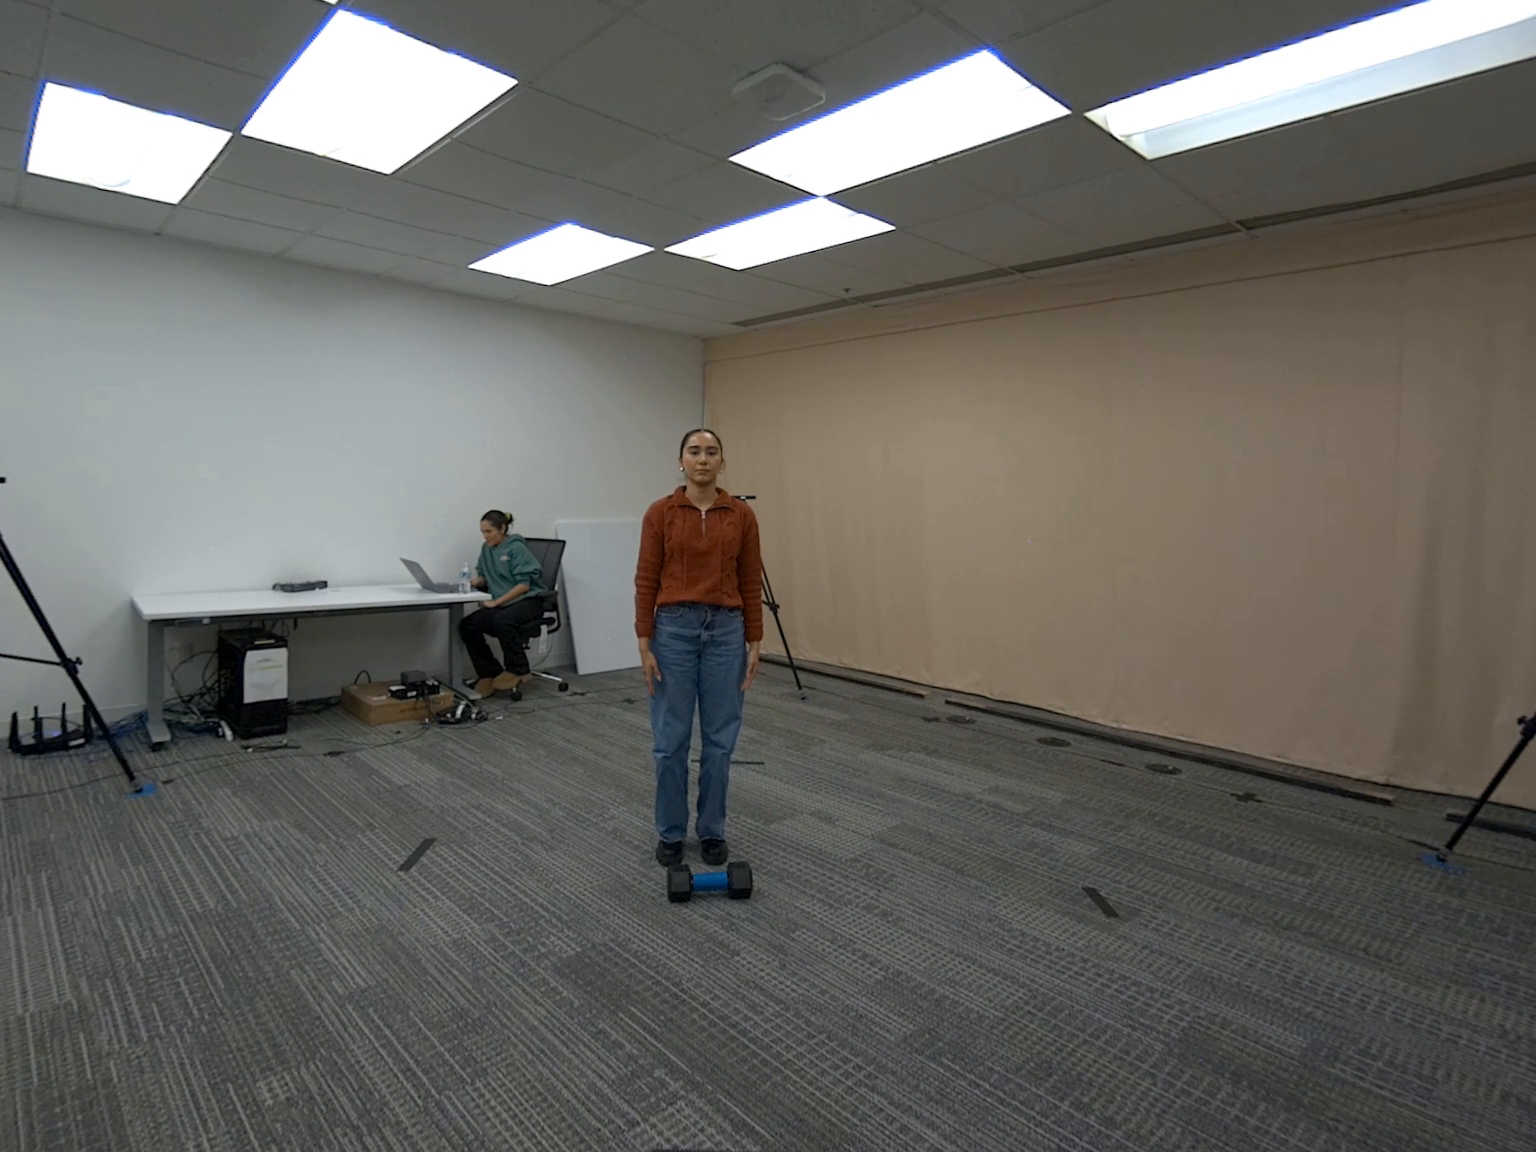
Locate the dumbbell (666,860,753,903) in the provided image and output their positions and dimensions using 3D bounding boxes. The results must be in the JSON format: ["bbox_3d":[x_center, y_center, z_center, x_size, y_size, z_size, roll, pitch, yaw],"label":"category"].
[{"bbox_3d":[-0.209,1.065,2.922,0.291,0.108,0.124,0,3,-9],"label":"dumbbell"}]
